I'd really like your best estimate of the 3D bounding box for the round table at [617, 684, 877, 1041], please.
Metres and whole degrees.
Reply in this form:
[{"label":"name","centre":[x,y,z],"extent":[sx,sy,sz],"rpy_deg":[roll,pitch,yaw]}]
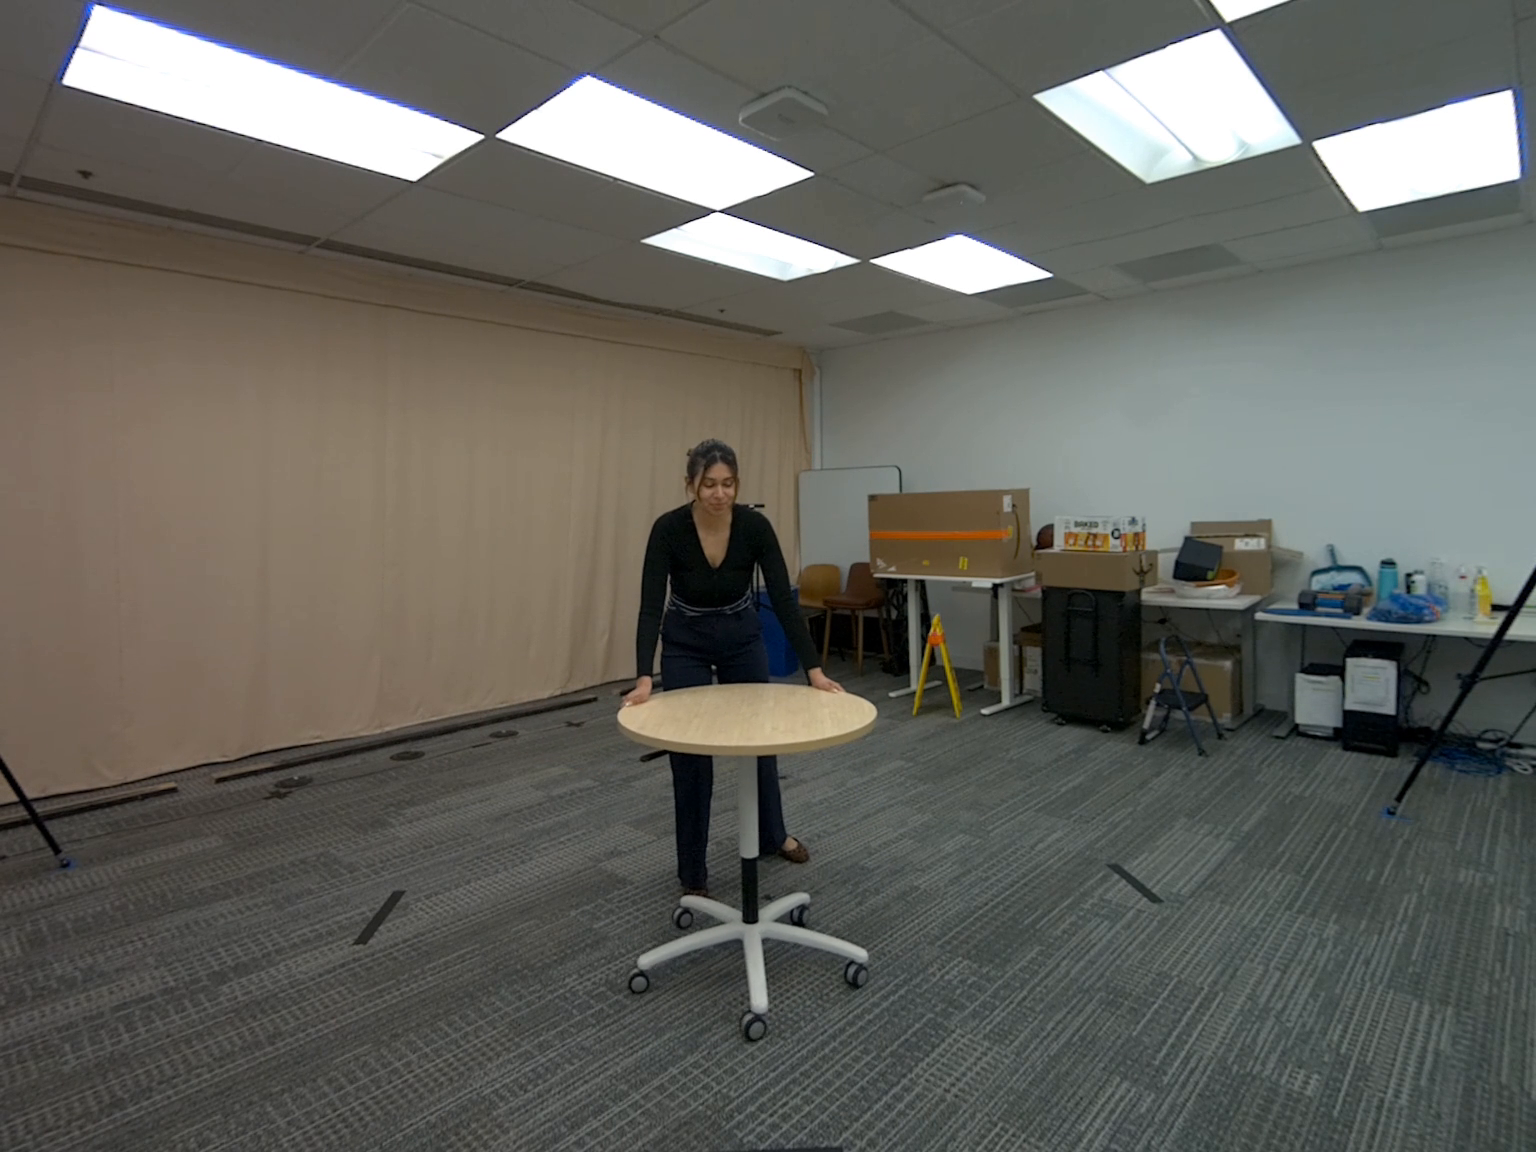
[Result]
[{"label":"round table","centre":[-0.053,0.789,2.527],"extent":[0.763,0.792,0.766],"rpy_deg":[-1,4,-2]}]
